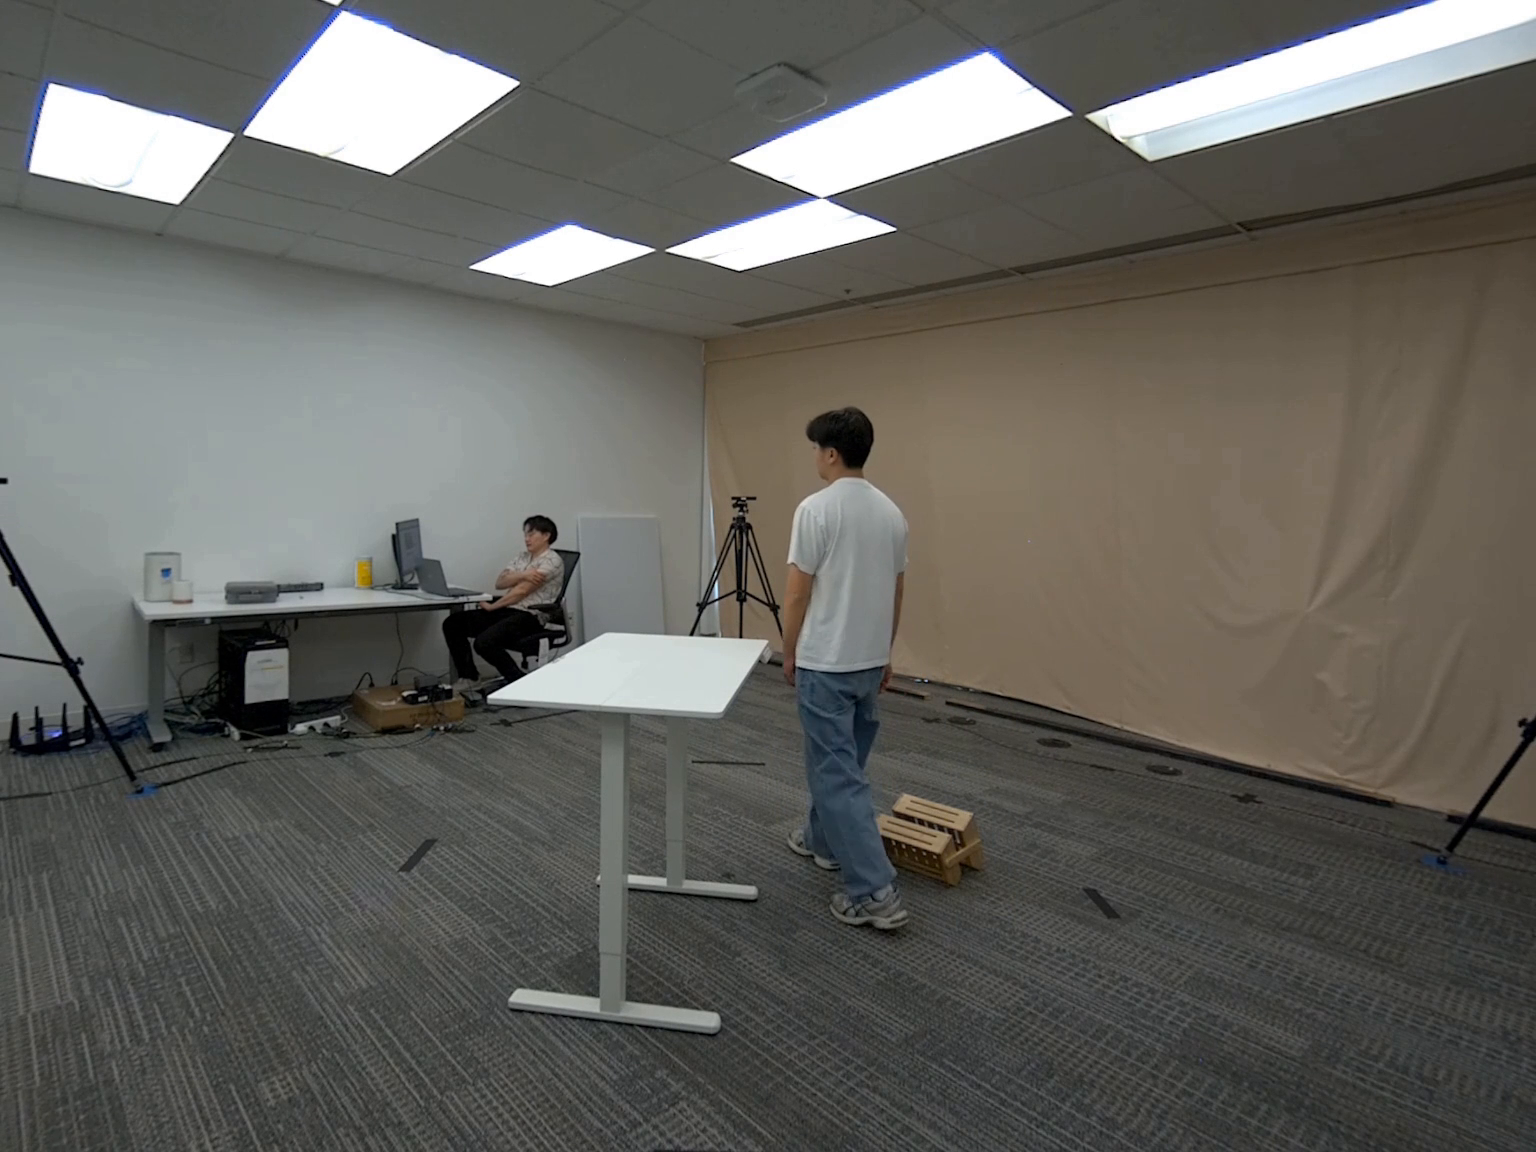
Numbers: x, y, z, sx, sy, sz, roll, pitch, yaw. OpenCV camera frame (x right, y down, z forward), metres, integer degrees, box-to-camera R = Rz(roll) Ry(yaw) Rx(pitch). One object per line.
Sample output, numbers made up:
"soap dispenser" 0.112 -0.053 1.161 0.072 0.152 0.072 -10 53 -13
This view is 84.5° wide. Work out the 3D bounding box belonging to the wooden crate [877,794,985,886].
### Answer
"wooden crate" 0.594 1.028 3.195 0.332 0.296 0.272 4 32 40
